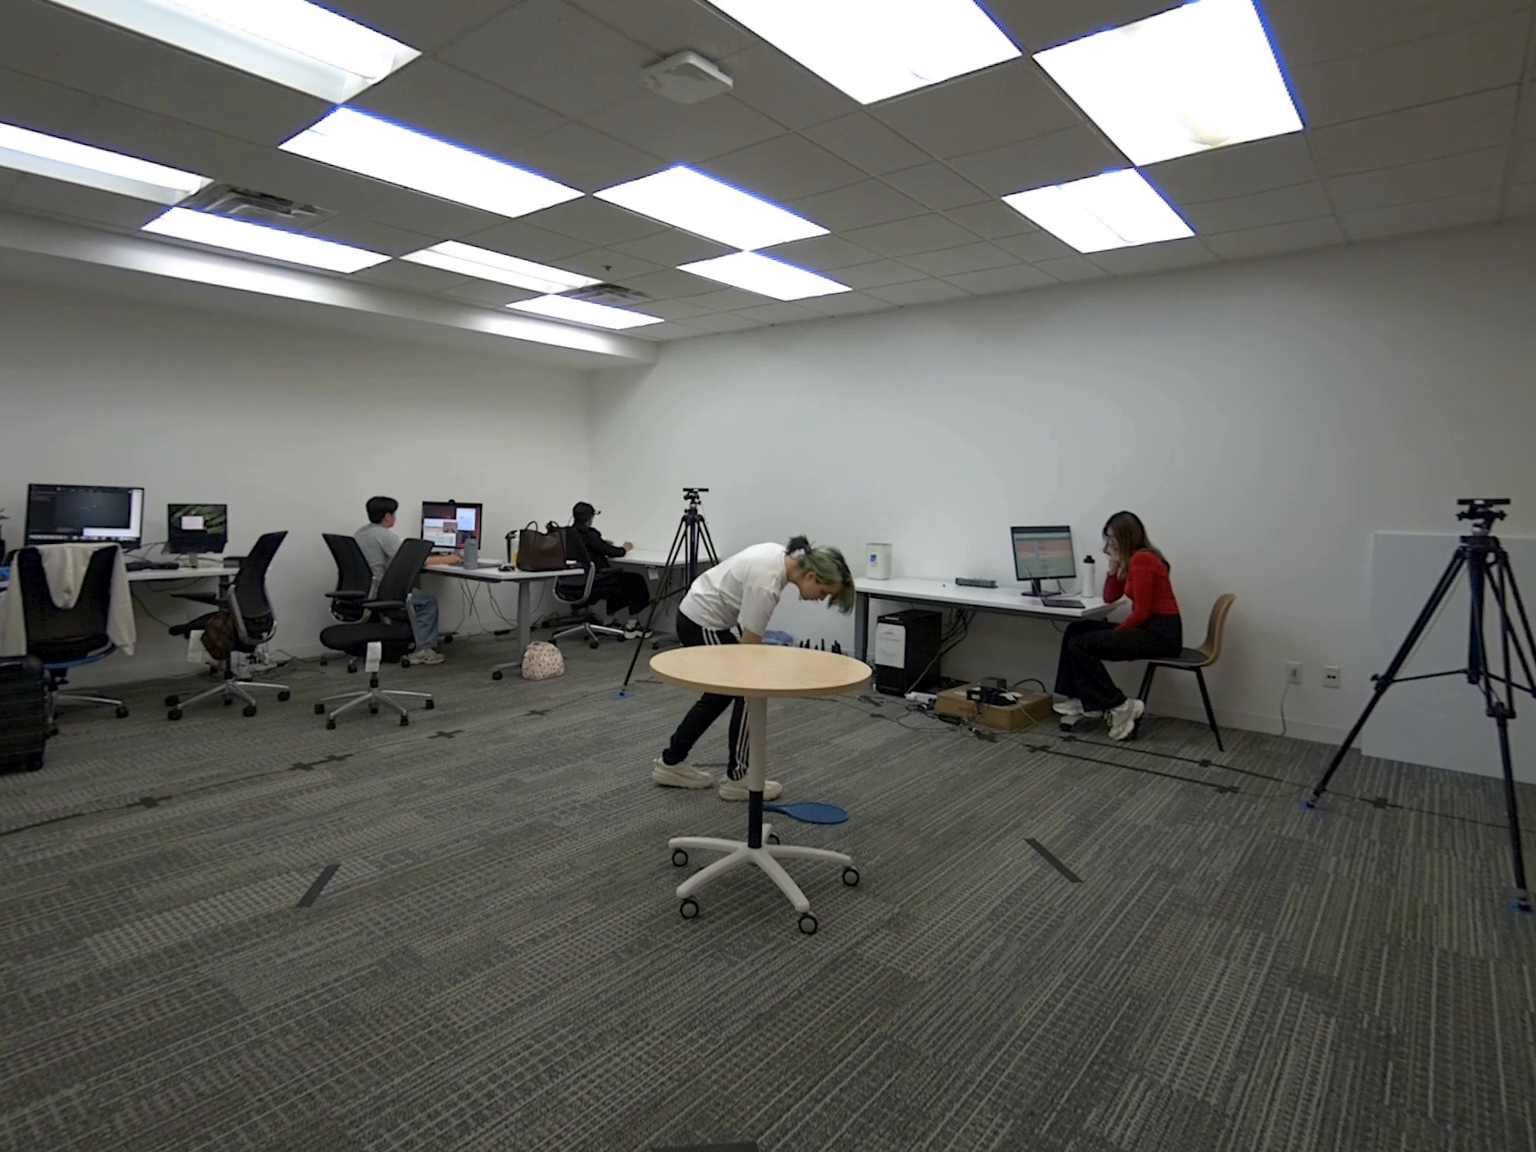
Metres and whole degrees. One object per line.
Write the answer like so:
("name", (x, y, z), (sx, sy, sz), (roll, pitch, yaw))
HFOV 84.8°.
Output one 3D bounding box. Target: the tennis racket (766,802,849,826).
("tennis racket", (0.121, 1.005, 3.673), (0.438, 0.031, 0.212), (3, 6, 10))
